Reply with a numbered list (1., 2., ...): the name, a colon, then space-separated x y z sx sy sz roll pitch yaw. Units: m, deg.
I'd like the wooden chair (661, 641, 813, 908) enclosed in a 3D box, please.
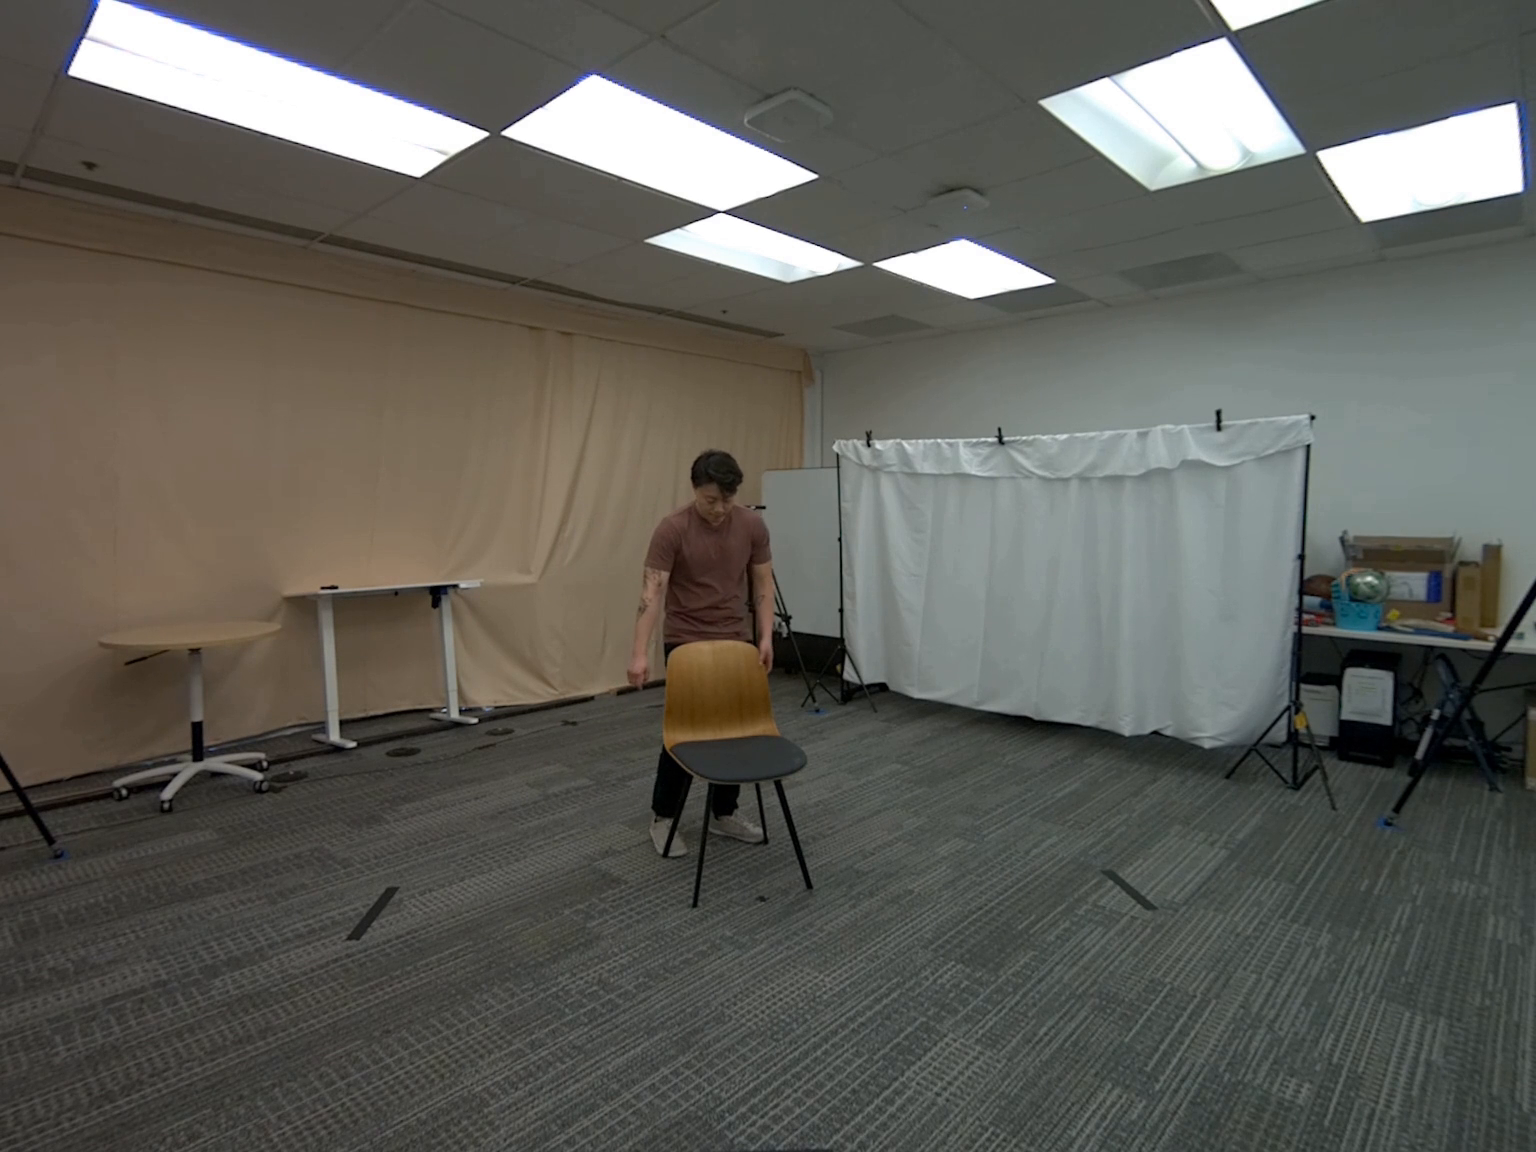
1. wooden chair: -0.121 0.702 3.156 0.469 0.878 0.533 0 -1 -20
